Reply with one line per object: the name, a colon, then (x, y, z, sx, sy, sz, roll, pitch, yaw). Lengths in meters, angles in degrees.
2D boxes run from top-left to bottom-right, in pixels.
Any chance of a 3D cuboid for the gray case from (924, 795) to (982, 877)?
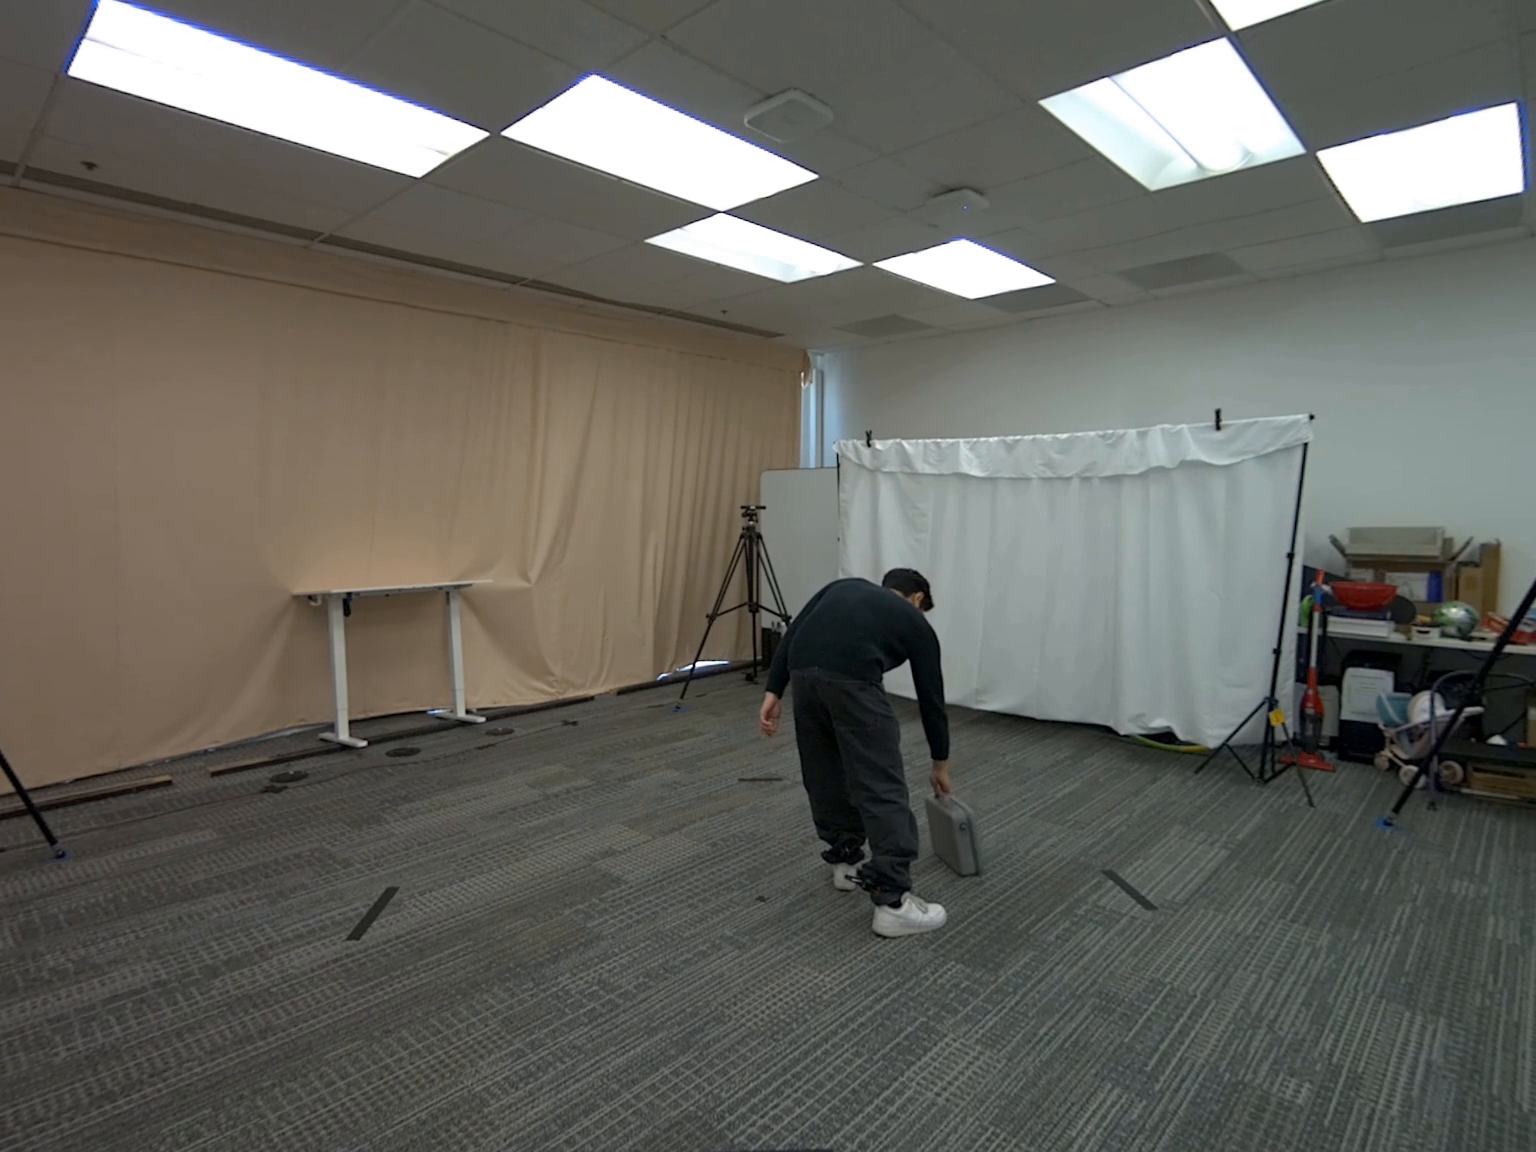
gray case: (0.721, 0.981, 3.259, 0.103, 0.259, 0.261, -11, 6, -13)
